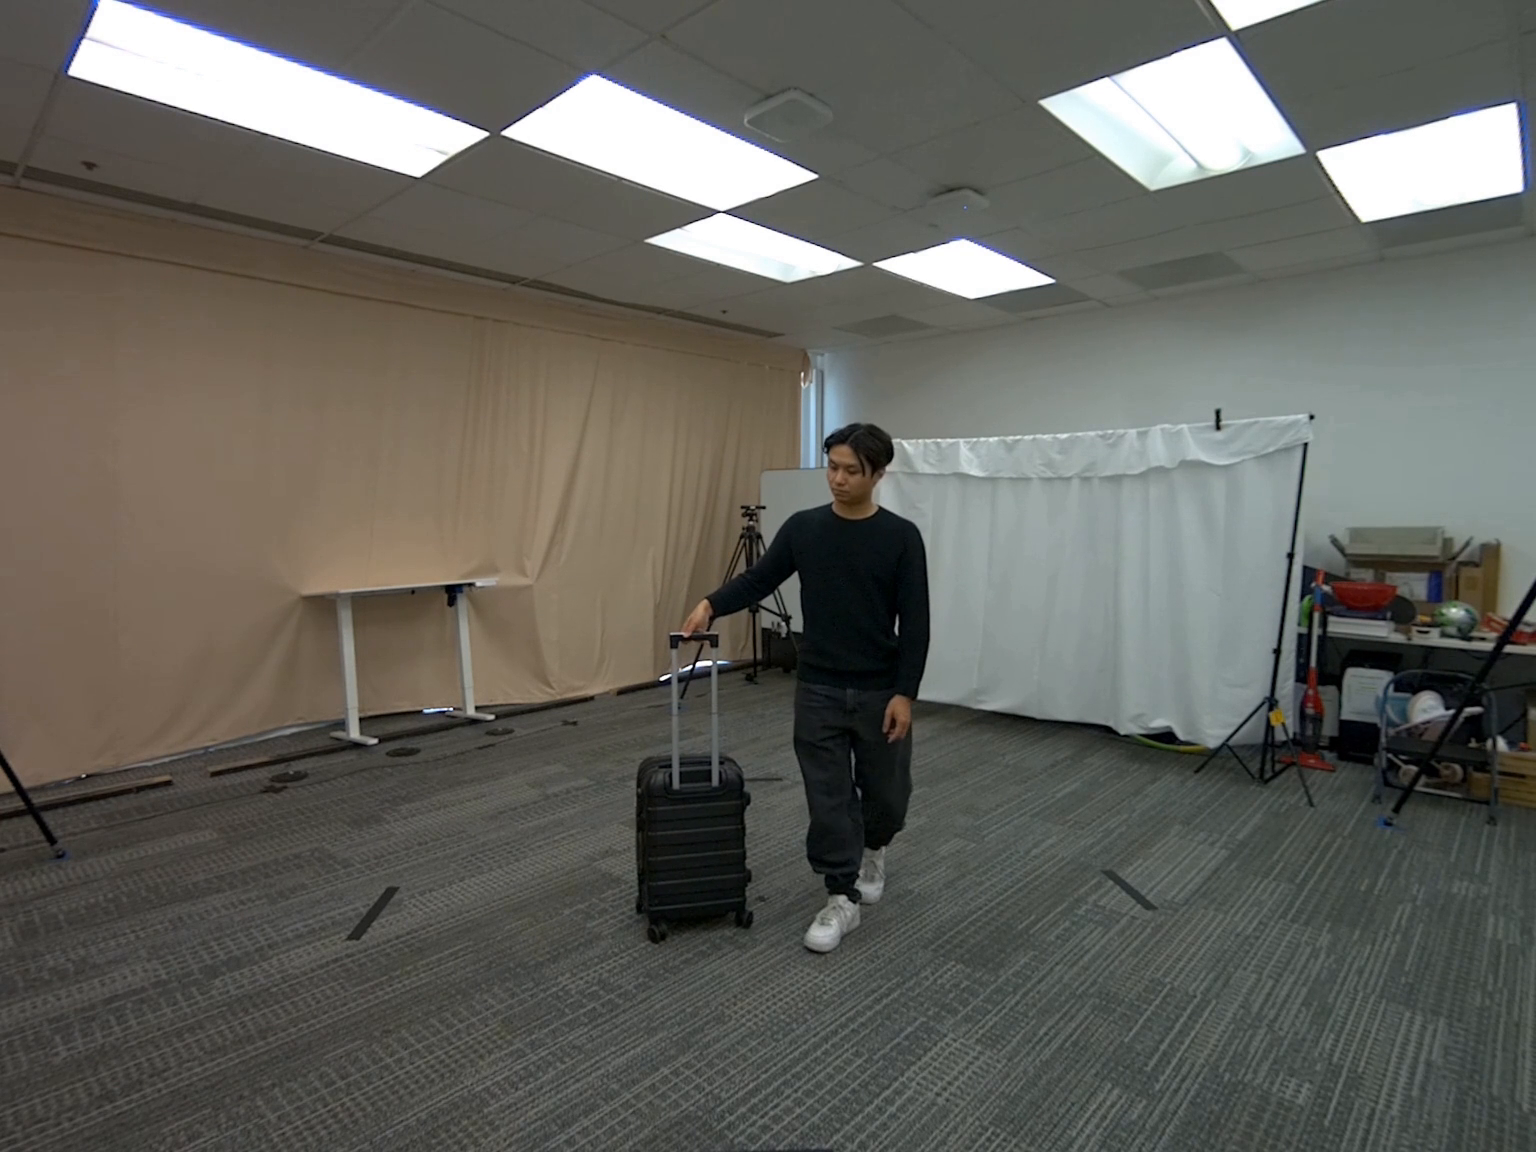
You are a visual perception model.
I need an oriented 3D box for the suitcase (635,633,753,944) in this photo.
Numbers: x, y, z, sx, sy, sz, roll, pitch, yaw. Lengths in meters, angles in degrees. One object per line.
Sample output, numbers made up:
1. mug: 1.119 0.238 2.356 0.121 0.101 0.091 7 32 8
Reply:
1. suitcase: -0.262 0.686 2.839 0.380 0.979 0.260 -1 0 -11
